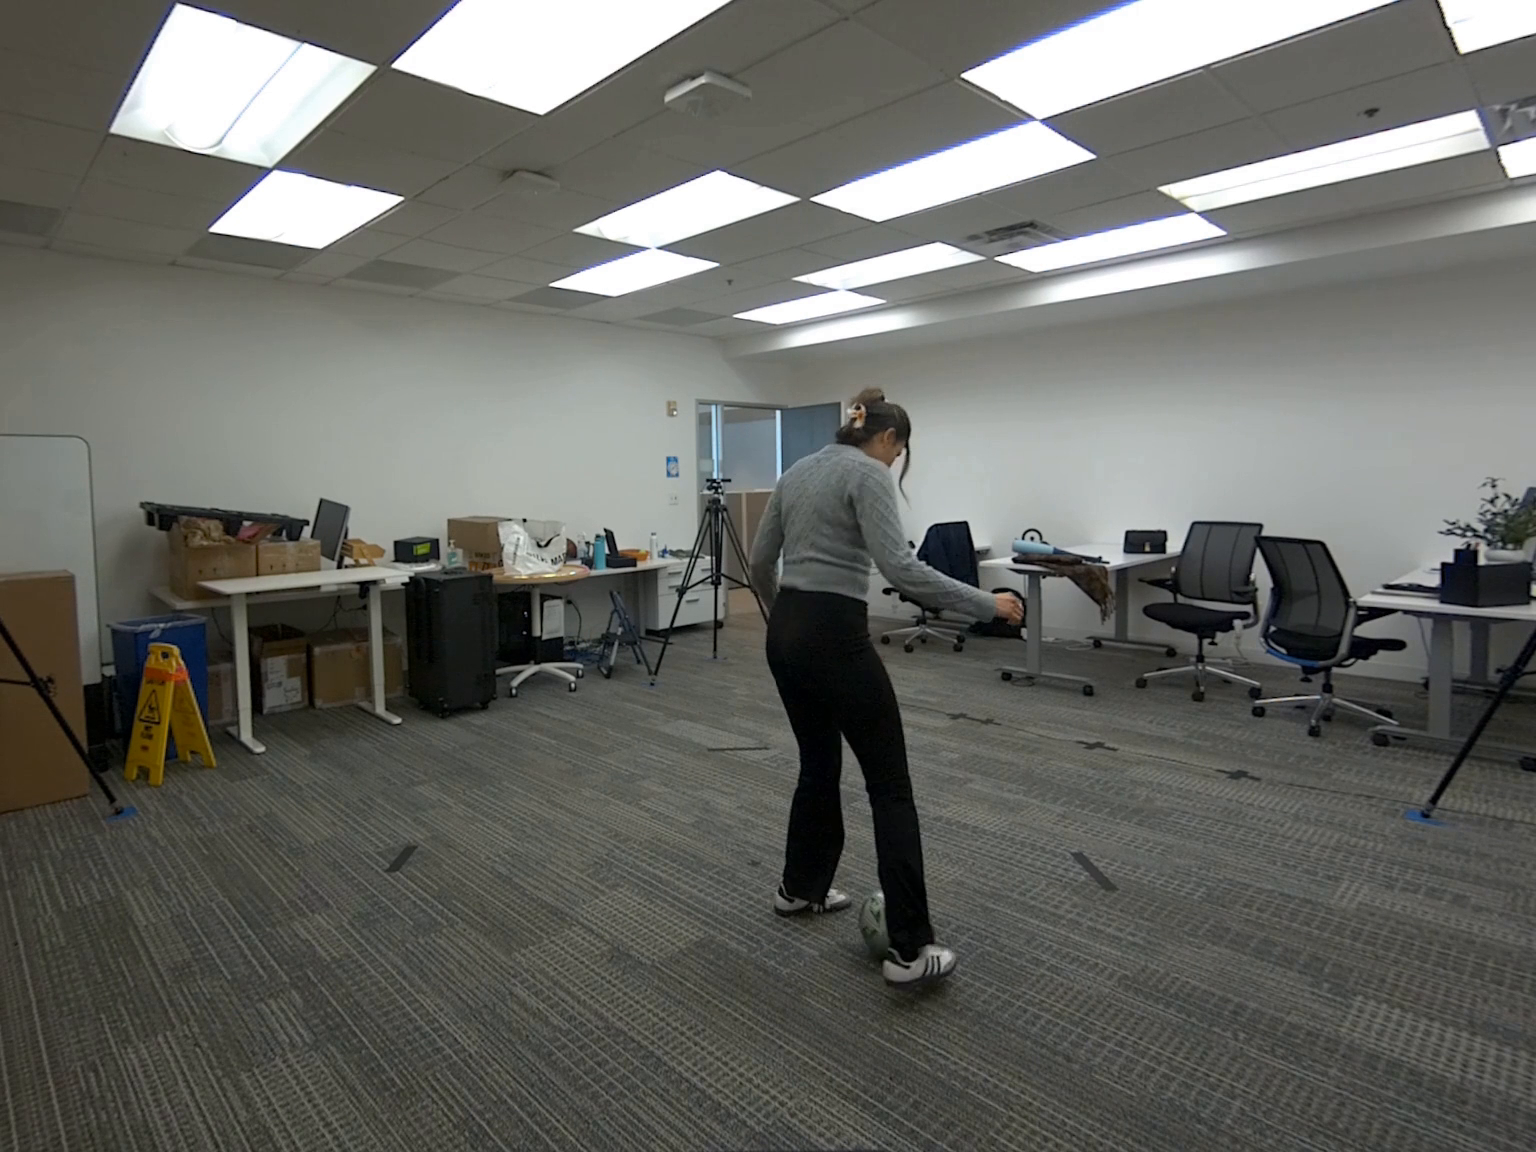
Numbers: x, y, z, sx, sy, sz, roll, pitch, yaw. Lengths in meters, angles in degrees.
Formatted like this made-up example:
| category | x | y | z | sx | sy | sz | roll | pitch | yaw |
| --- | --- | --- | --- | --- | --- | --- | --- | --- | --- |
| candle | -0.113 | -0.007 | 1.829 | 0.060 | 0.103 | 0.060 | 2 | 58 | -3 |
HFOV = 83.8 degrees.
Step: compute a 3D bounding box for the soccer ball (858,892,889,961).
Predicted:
| category | x | y | z | sx | sy | sz | roll | pitch | yaw |
| --- | --- | --- | --- | --- | --- | --- | --- | --- | --- |
| soccer ball | 0.340 | 1.010 | 2.526 | 0.187 | 0.187 | 0.188 | -1 | 5 | -2 |
